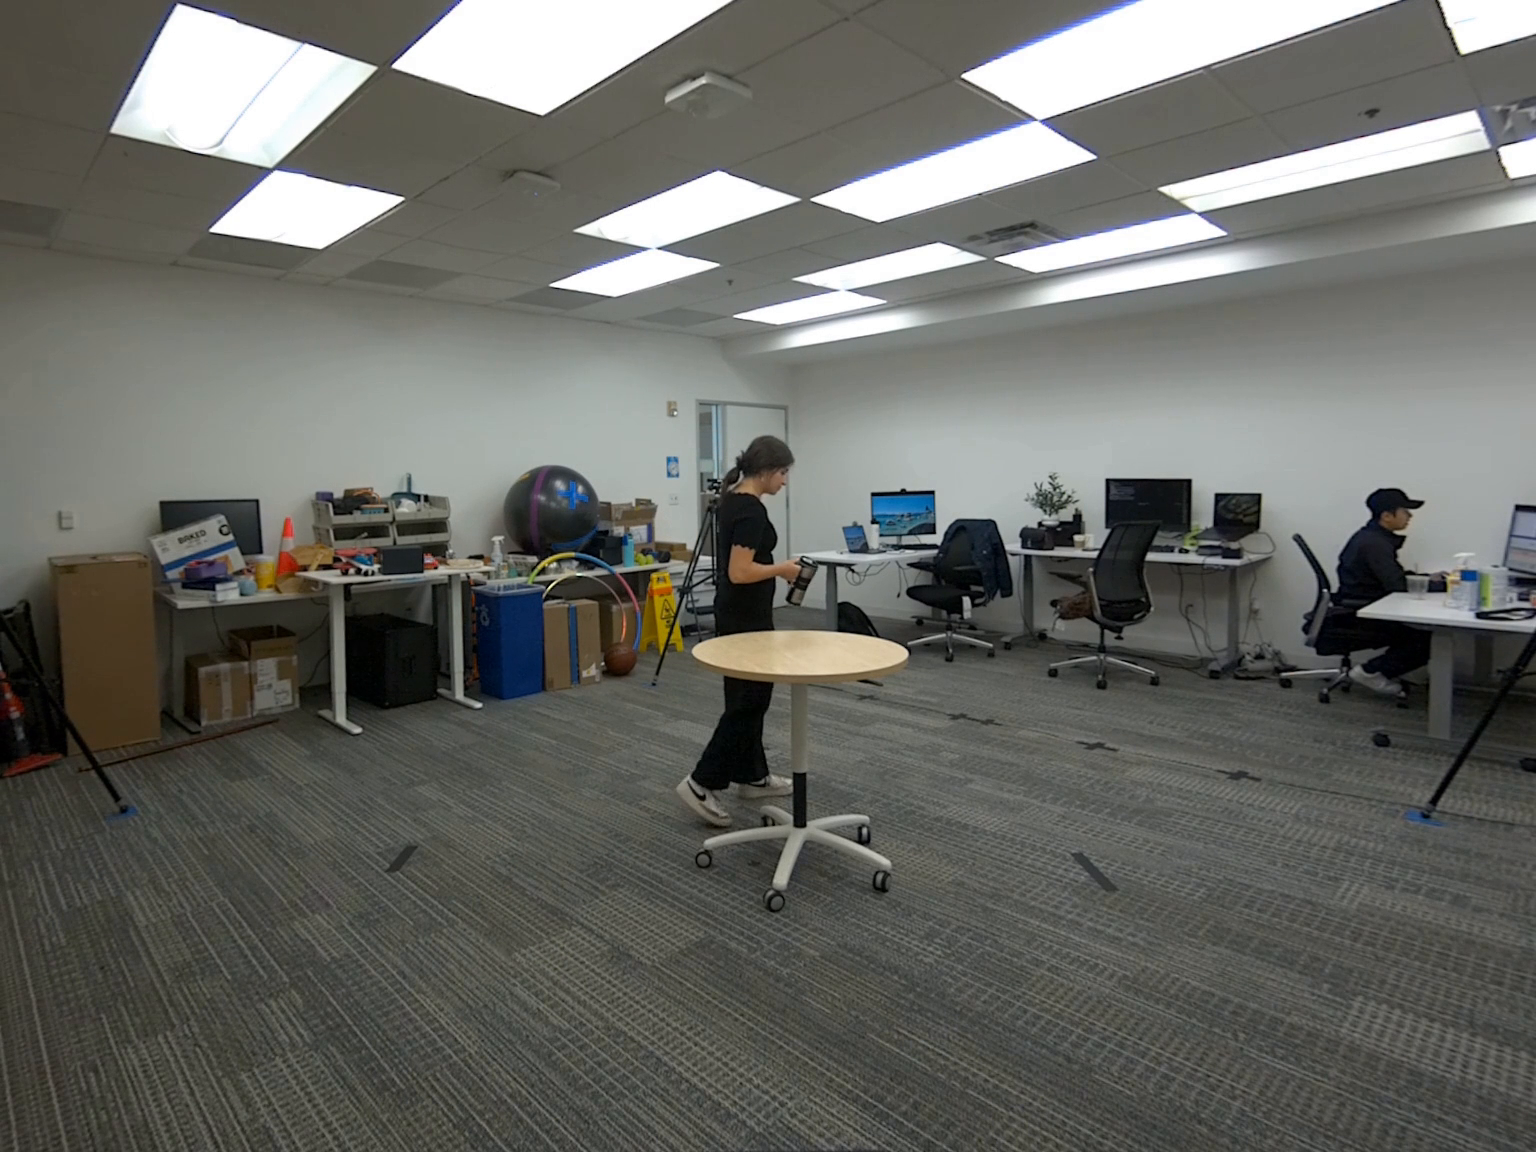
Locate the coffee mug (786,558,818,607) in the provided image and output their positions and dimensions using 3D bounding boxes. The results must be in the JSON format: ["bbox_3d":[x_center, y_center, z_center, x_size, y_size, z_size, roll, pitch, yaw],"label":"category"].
[{"bbox_3d":[0.121,0.019,3.635,0.118,0.201,0.091,15,17,-27],"label":"coffee mug"}]
